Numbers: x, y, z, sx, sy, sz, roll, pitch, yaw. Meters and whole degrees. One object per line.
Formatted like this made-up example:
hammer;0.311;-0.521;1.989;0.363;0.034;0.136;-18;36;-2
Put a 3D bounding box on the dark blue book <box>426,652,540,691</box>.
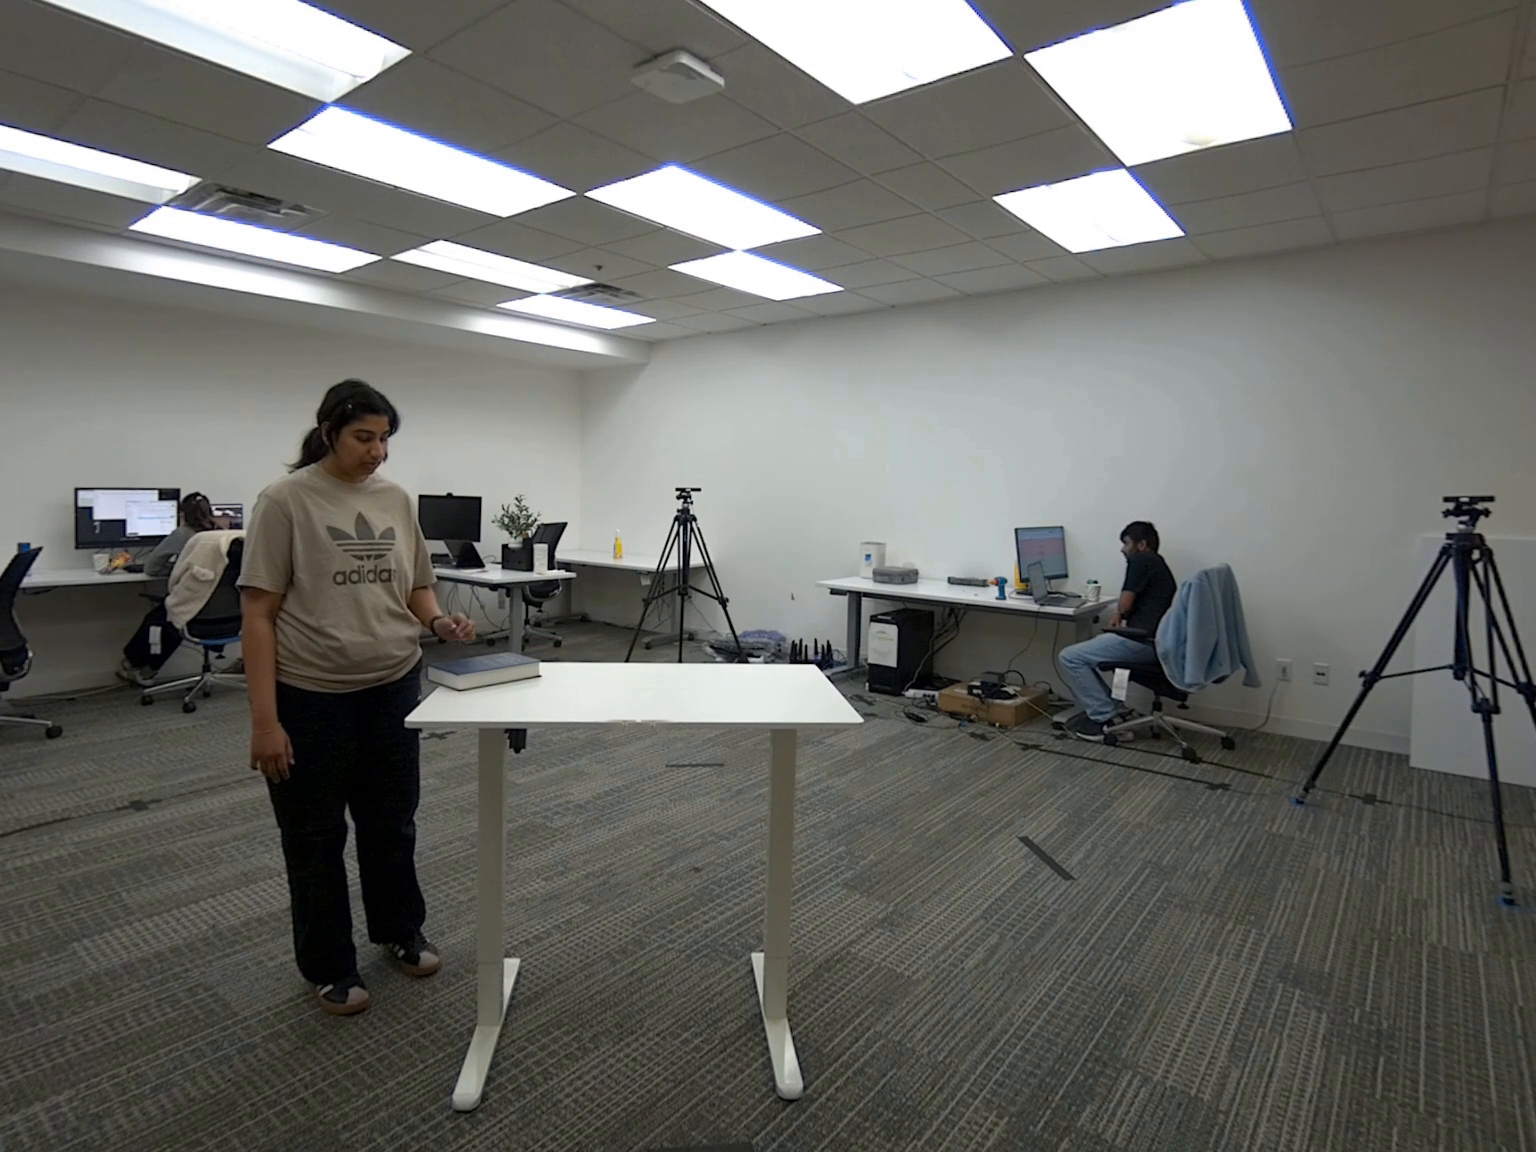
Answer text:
dark blue book;-0.755;0.249;2.203;0.169;0.045;0.238;5;7;41
